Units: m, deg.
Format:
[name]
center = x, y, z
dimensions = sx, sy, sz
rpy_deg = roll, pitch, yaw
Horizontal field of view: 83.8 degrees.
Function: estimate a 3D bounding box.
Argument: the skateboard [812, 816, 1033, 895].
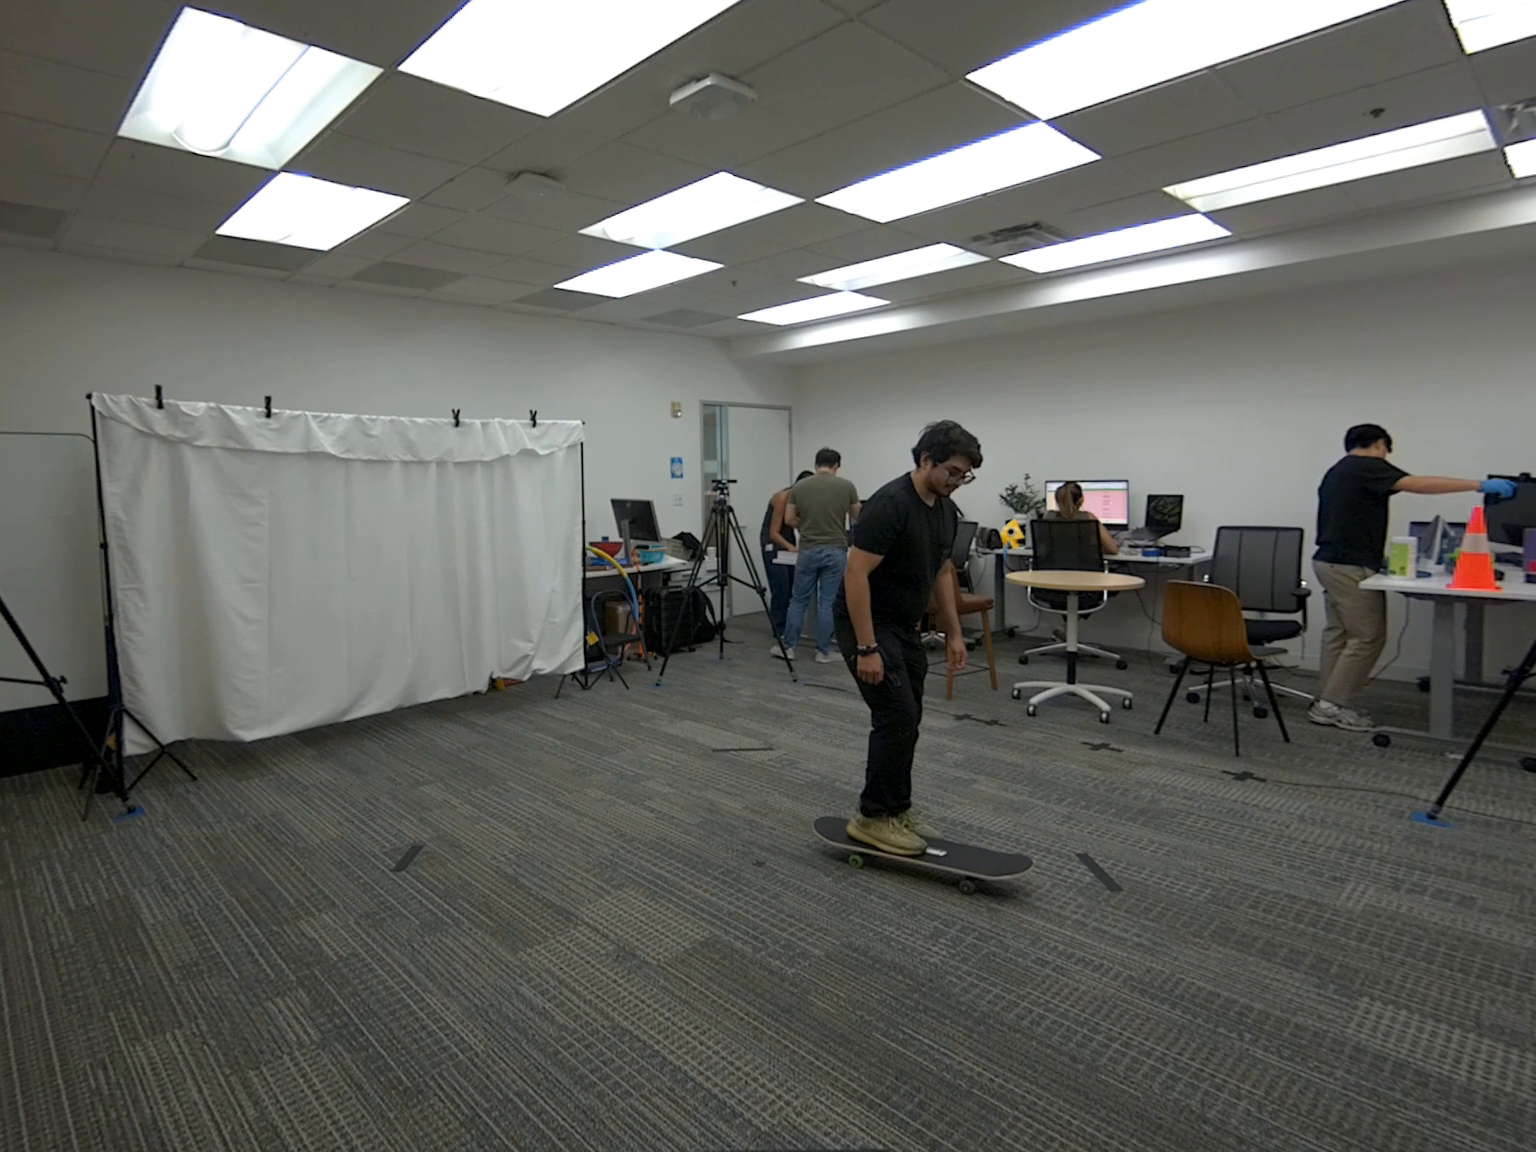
[skateboard]
center = 0.532, 0.993, 3.026
dimensions = 0.806, 0.110, 0.189
rpy_deg = 2, 8, 30
